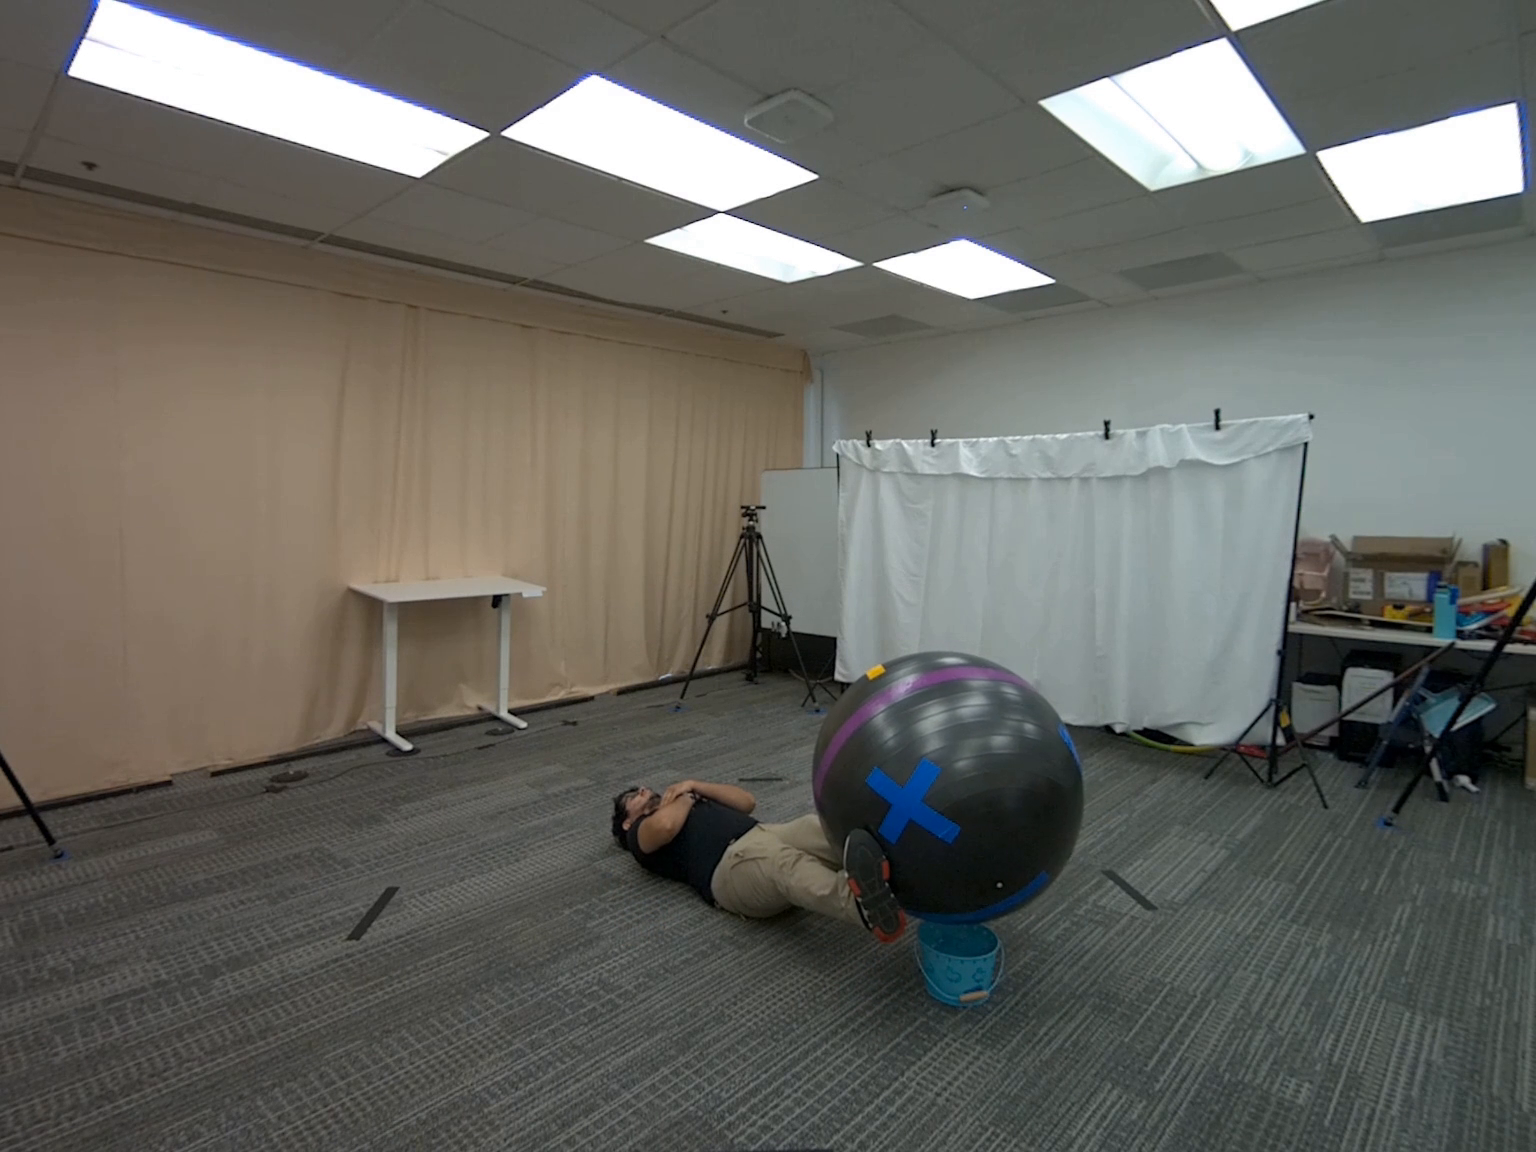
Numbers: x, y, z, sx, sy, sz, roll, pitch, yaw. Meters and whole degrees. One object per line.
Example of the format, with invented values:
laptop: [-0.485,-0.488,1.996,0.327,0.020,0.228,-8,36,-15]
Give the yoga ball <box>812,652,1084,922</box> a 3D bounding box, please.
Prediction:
yoga ball: [0.514,0.602,2.451,0.757,0.756,0.760,0,4,-2]
